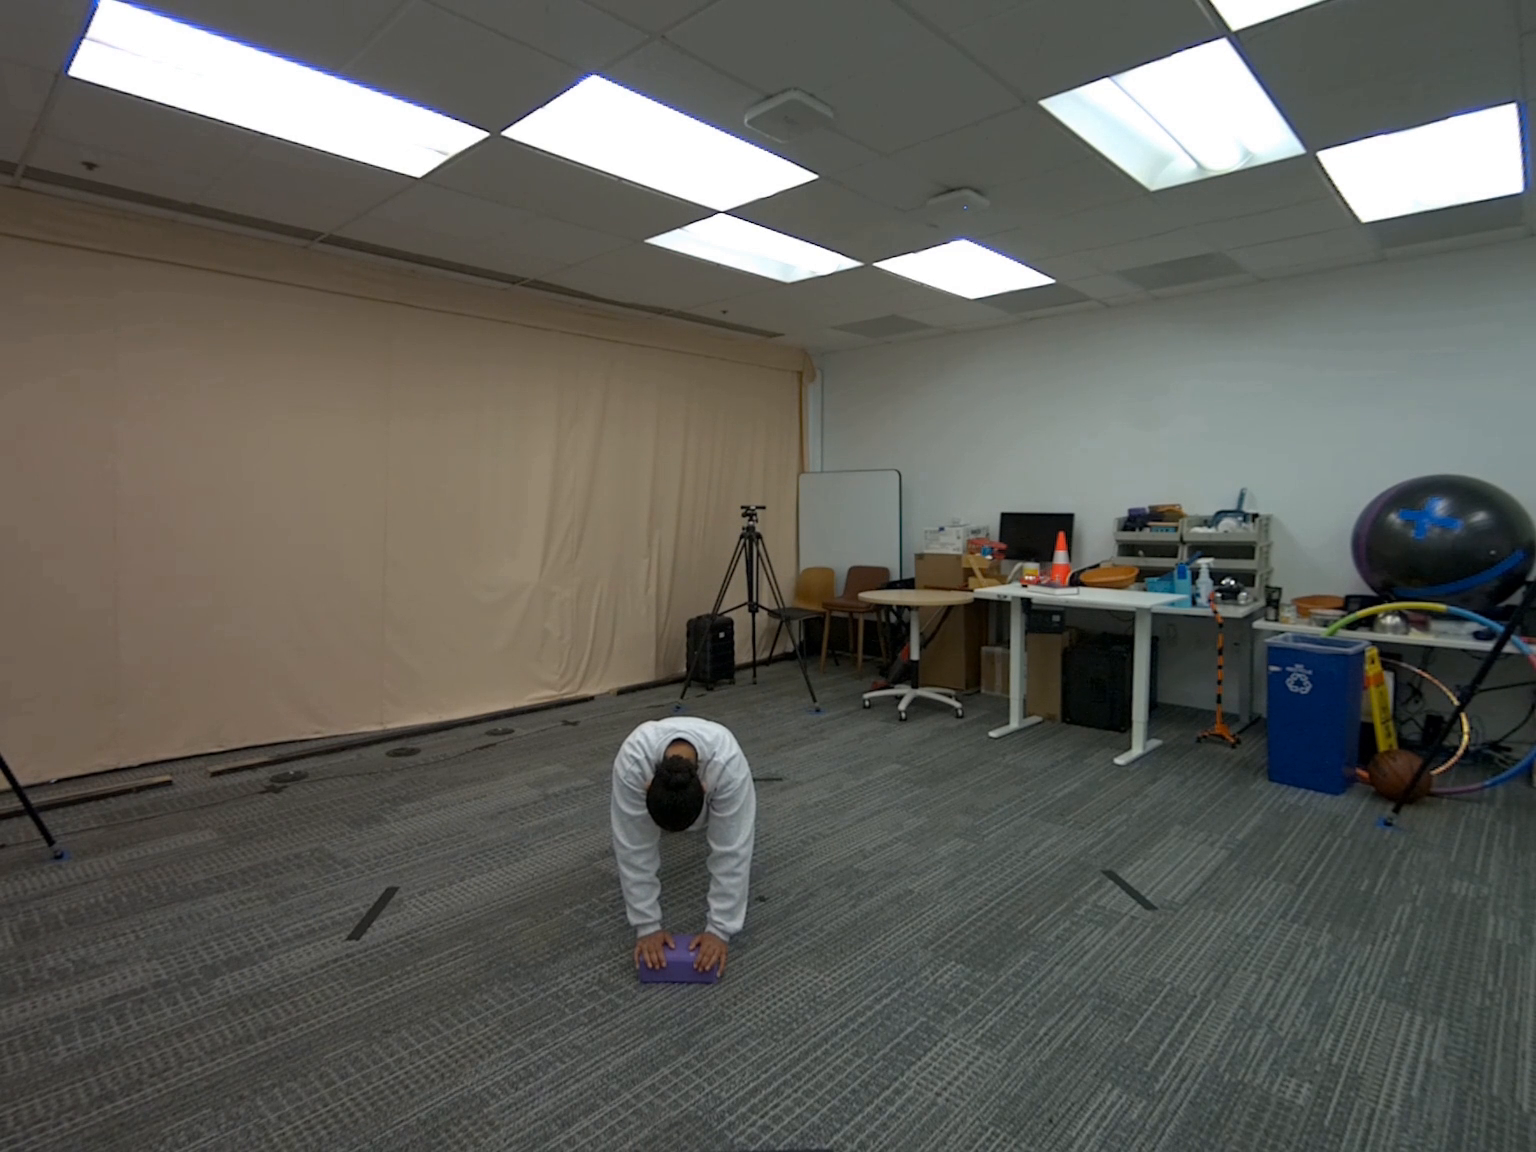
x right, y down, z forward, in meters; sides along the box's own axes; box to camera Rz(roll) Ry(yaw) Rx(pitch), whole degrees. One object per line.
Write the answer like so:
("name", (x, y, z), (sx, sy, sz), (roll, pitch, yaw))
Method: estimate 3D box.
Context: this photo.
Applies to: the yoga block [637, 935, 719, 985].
("yoga block", (-0.270, 1.136, 2.526), (0.229, 0.076, 0.149), (3, 5, 0))
